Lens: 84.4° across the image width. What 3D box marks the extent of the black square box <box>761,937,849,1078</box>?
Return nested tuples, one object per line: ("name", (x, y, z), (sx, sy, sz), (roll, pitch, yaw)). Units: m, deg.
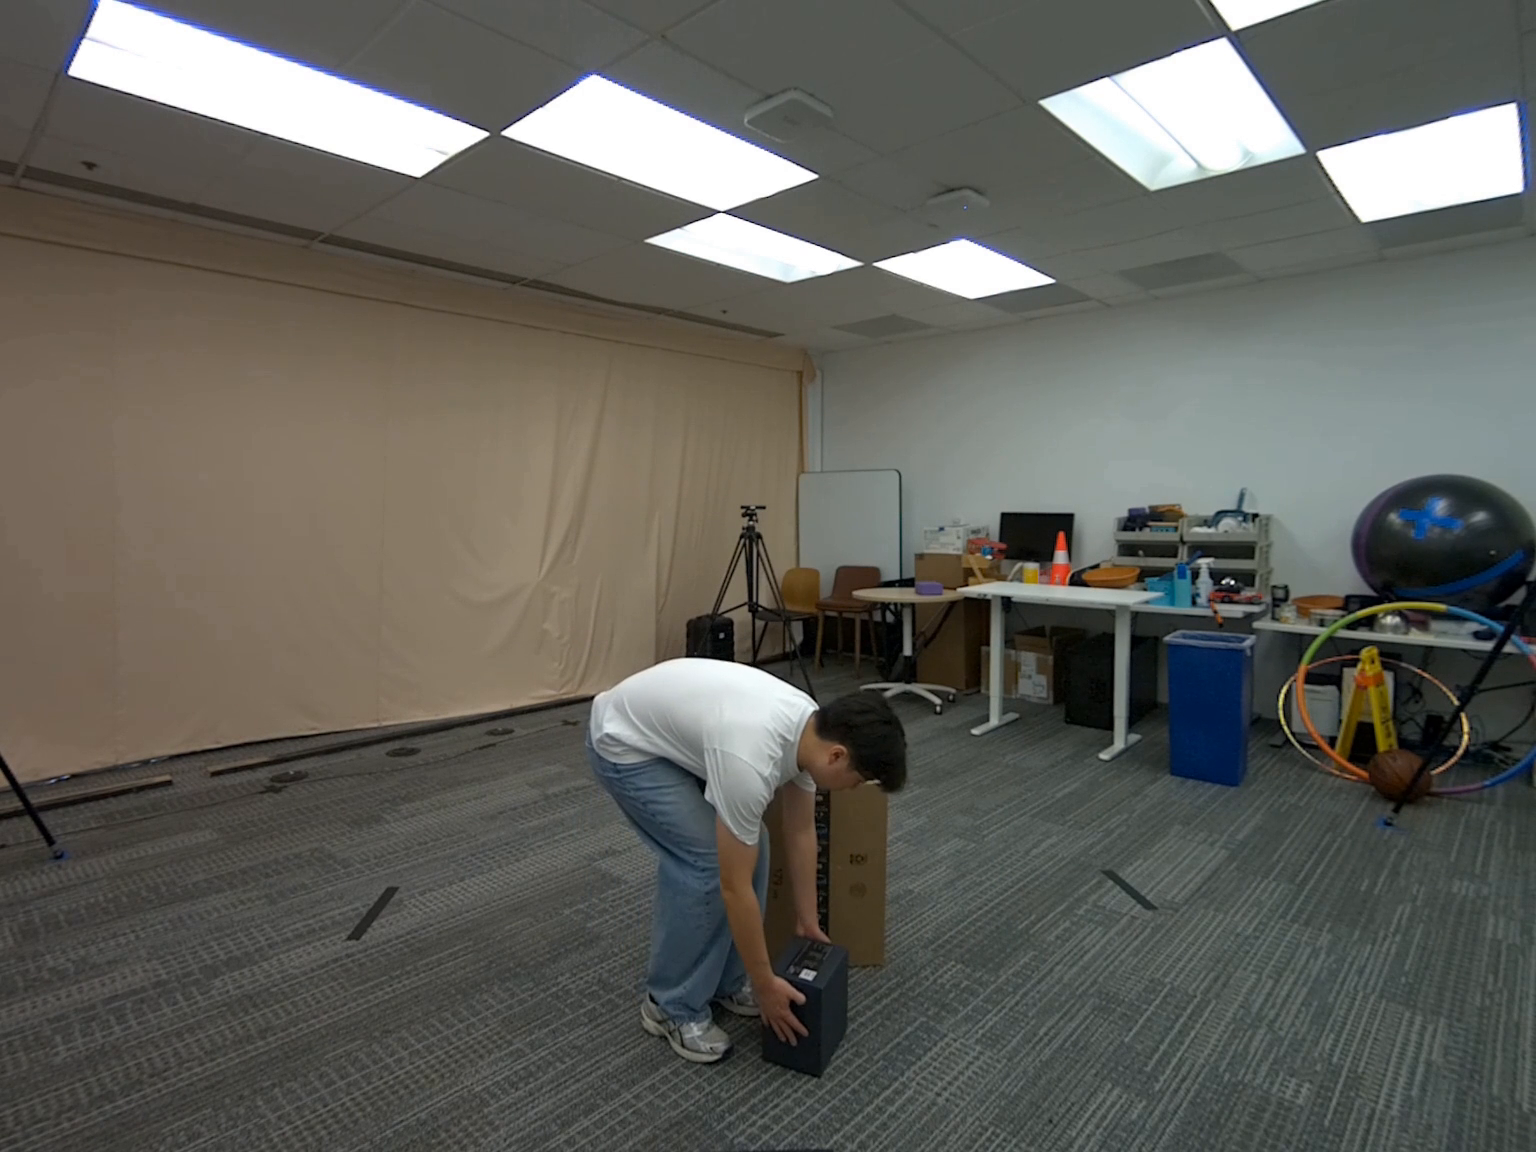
("black square box", (0.099, 1.083, 2.159), (0.160, 0.227, 0.212), (4, 5, 23))
